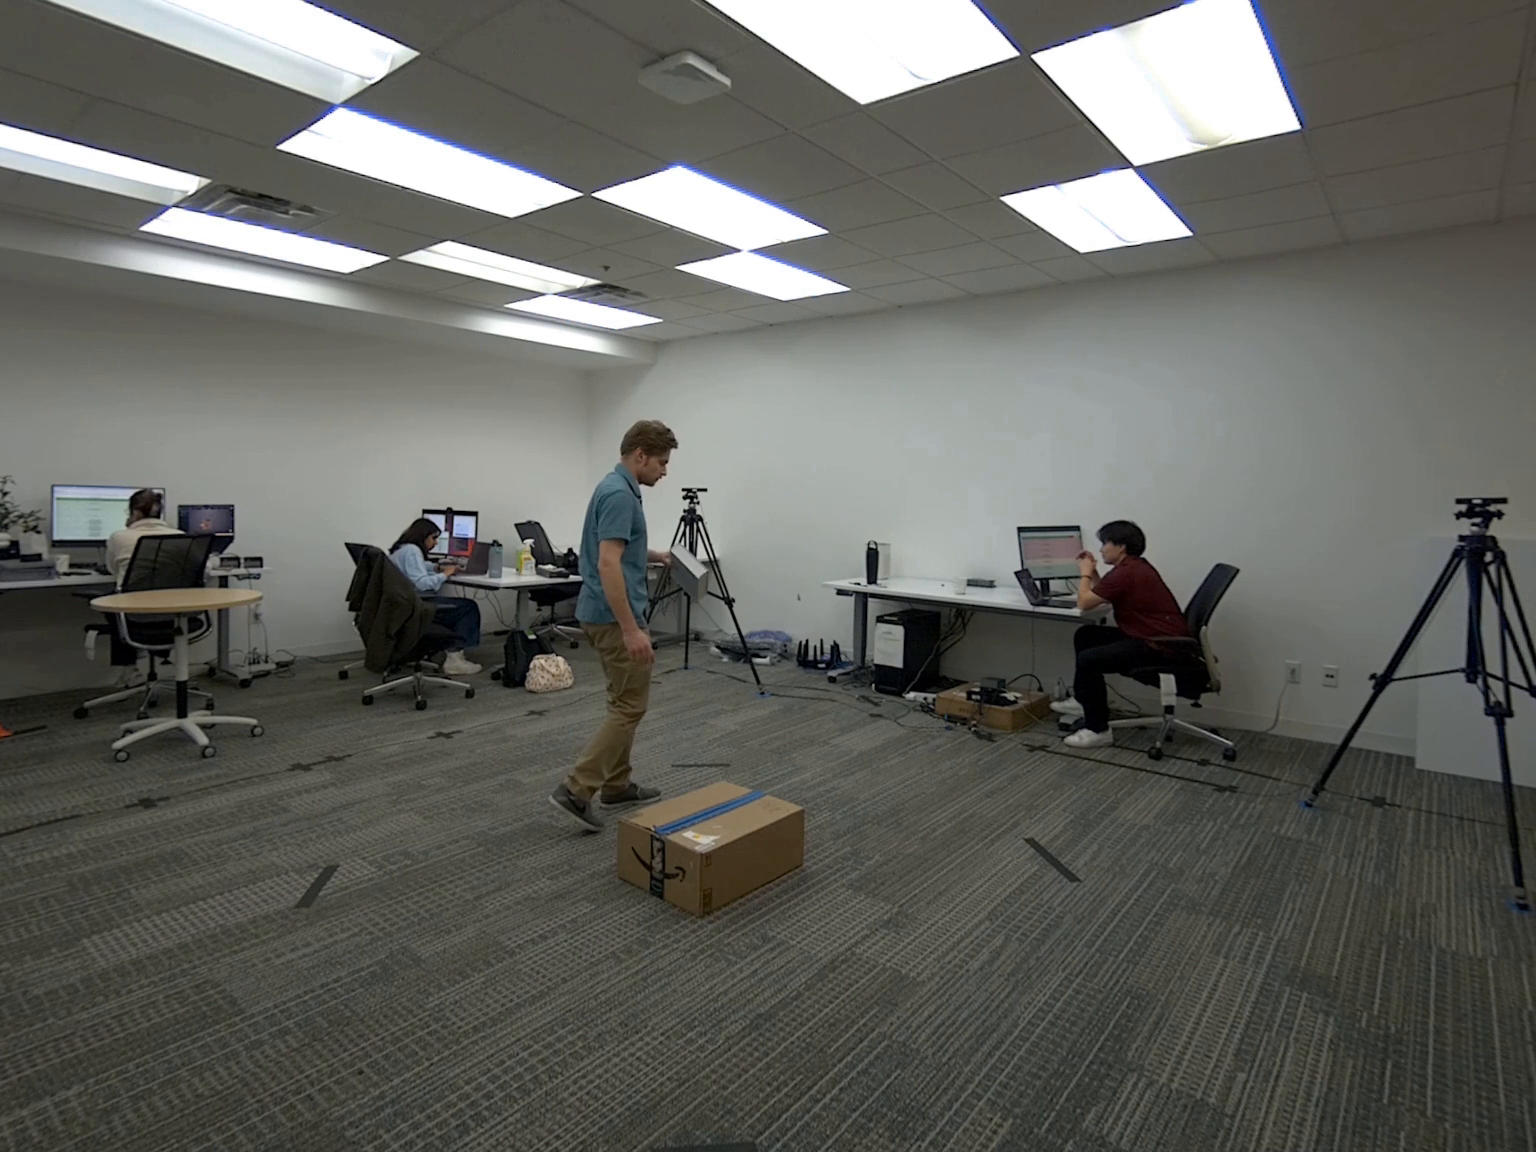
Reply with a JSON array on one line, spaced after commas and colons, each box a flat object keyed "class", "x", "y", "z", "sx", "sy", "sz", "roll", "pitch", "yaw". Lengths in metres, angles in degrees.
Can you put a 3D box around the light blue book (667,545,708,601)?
[{"class": "light blue book", "x": -0.360, "y": -0.008, "z": 3.736, "sx": 0.059, "sy": 0.196, "sz": 0.255, "roll": -39, "pitch": -19, "yaw": -21}]
